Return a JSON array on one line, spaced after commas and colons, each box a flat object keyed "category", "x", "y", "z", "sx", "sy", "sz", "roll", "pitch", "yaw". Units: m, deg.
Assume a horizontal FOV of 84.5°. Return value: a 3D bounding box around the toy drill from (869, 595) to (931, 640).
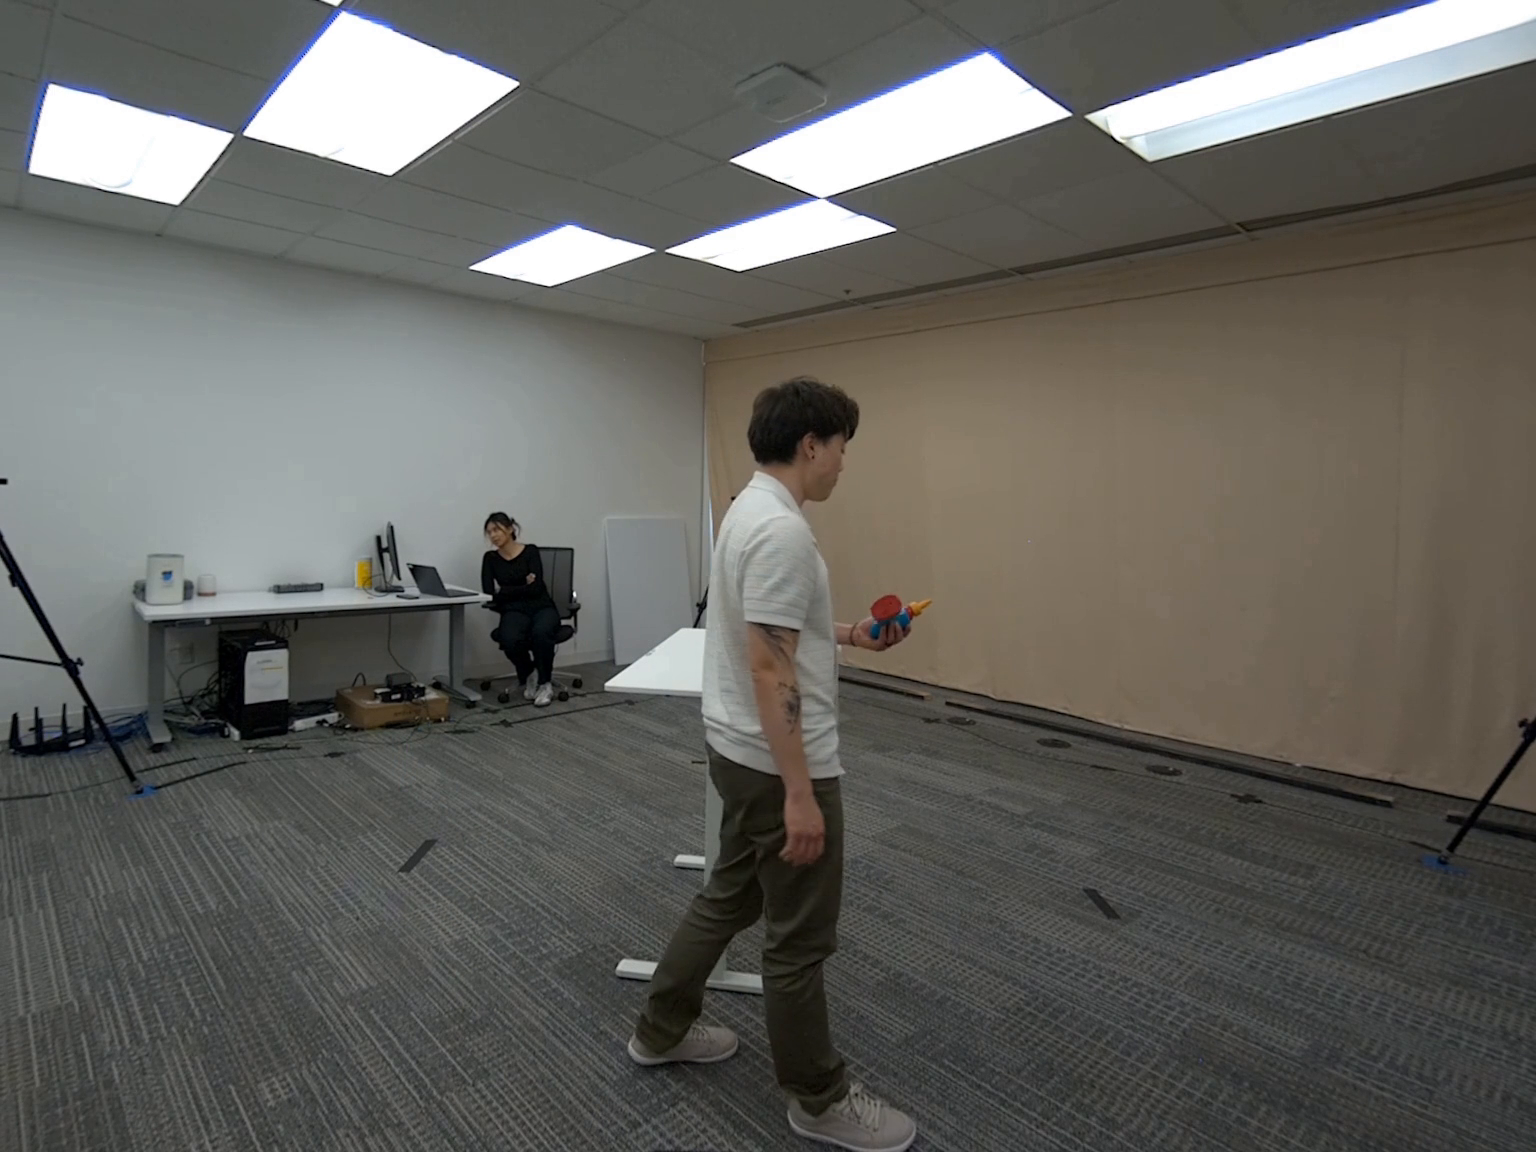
[{"category": "toy drill", "x": 0.304, "y": 0.085, "z": 1.995, "sx": 0.169, "sy": 0.063, "sz": 0.142, "roll": -27, "pitch": -29, "yaw": -6}]
